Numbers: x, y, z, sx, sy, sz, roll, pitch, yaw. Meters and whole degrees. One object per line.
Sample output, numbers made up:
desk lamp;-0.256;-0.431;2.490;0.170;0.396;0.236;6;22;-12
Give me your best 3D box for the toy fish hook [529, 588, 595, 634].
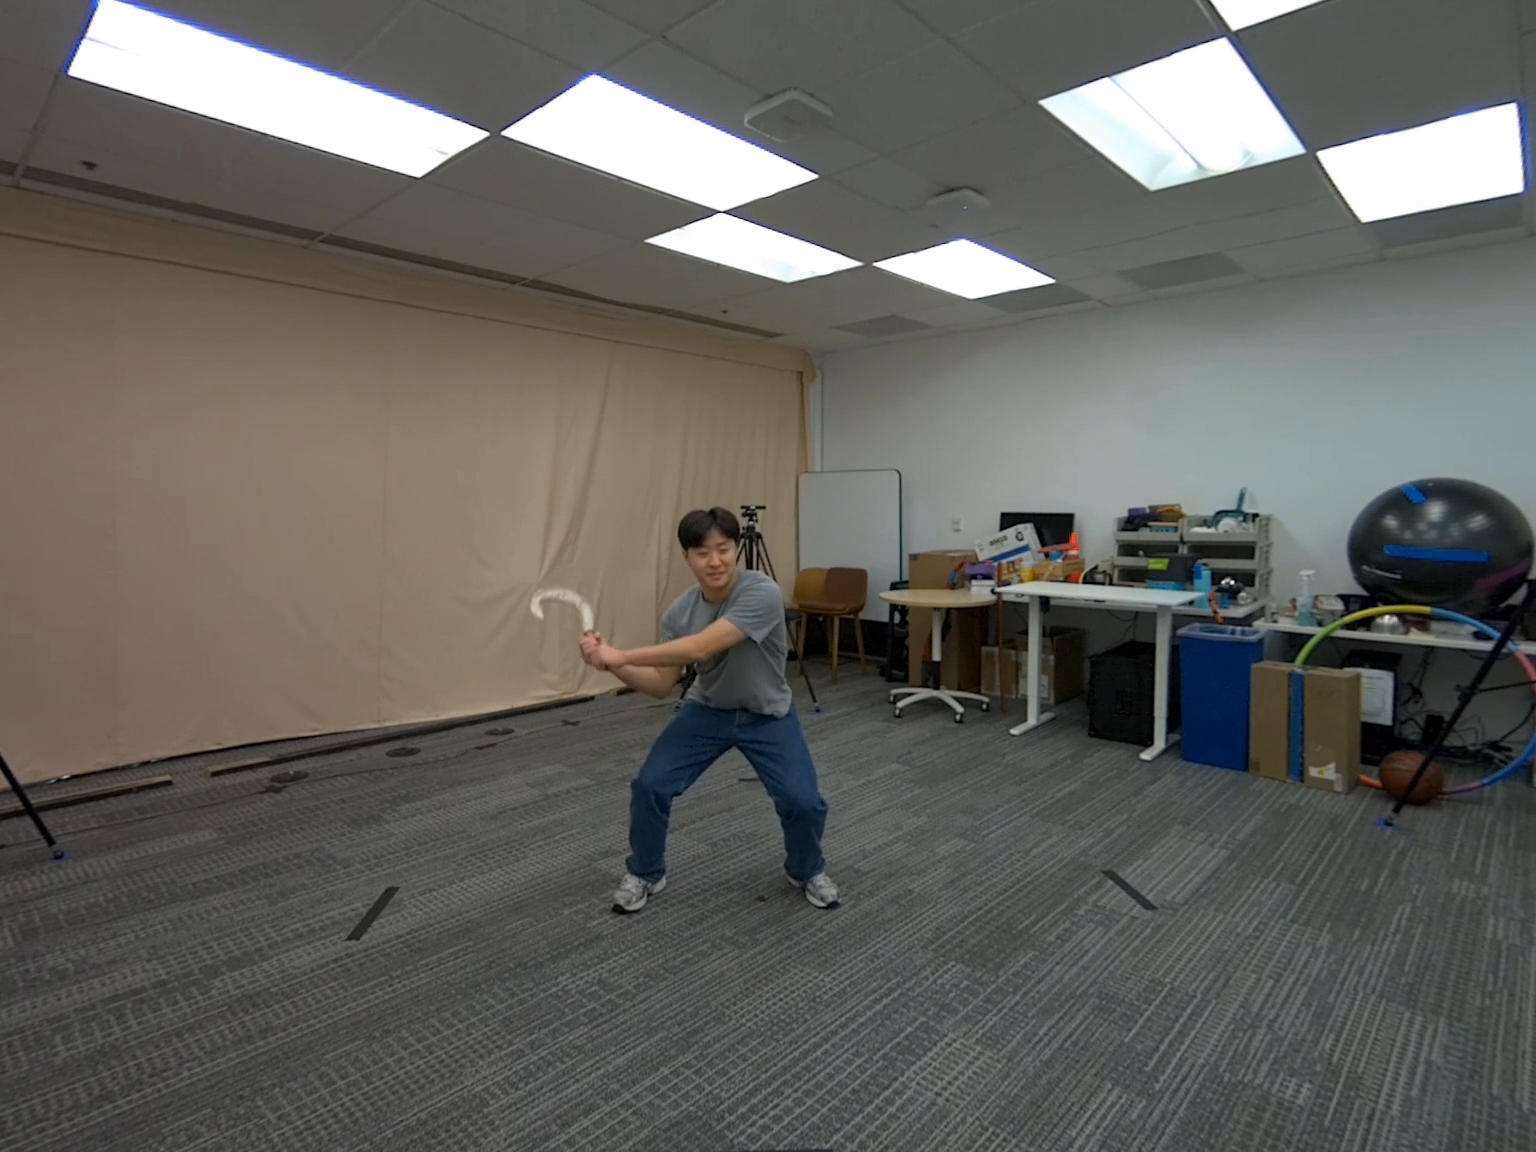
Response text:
toy fish hook;-0.654;0.191;2.829;0.219;0.048;0.523;-1;27;-24
